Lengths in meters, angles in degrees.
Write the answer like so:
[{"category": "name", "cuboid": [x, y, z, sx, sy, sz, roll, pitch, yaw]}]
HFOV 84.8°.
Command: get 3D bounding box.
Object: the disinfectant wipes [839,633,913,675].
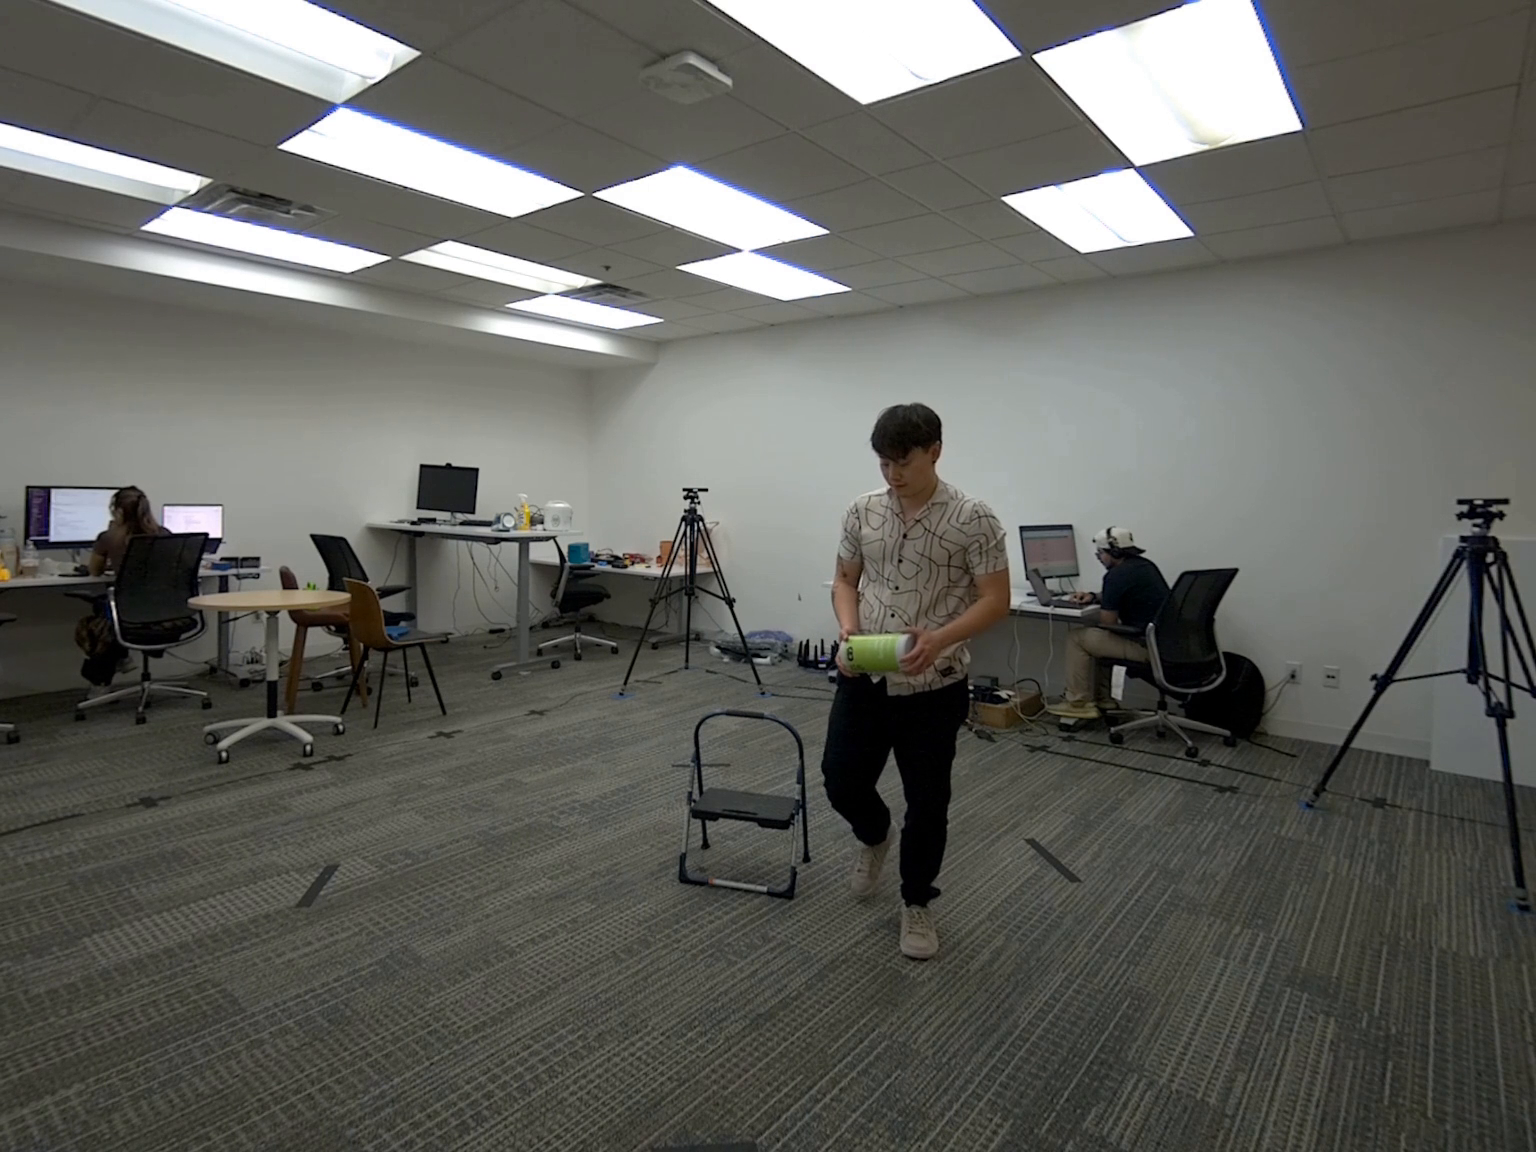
[{"category": "disinfectant wipes", "cuboid": [0.311, 0.215, 2.453, 0.223, 0.118, 0.114, -8, -2, 39]}]
